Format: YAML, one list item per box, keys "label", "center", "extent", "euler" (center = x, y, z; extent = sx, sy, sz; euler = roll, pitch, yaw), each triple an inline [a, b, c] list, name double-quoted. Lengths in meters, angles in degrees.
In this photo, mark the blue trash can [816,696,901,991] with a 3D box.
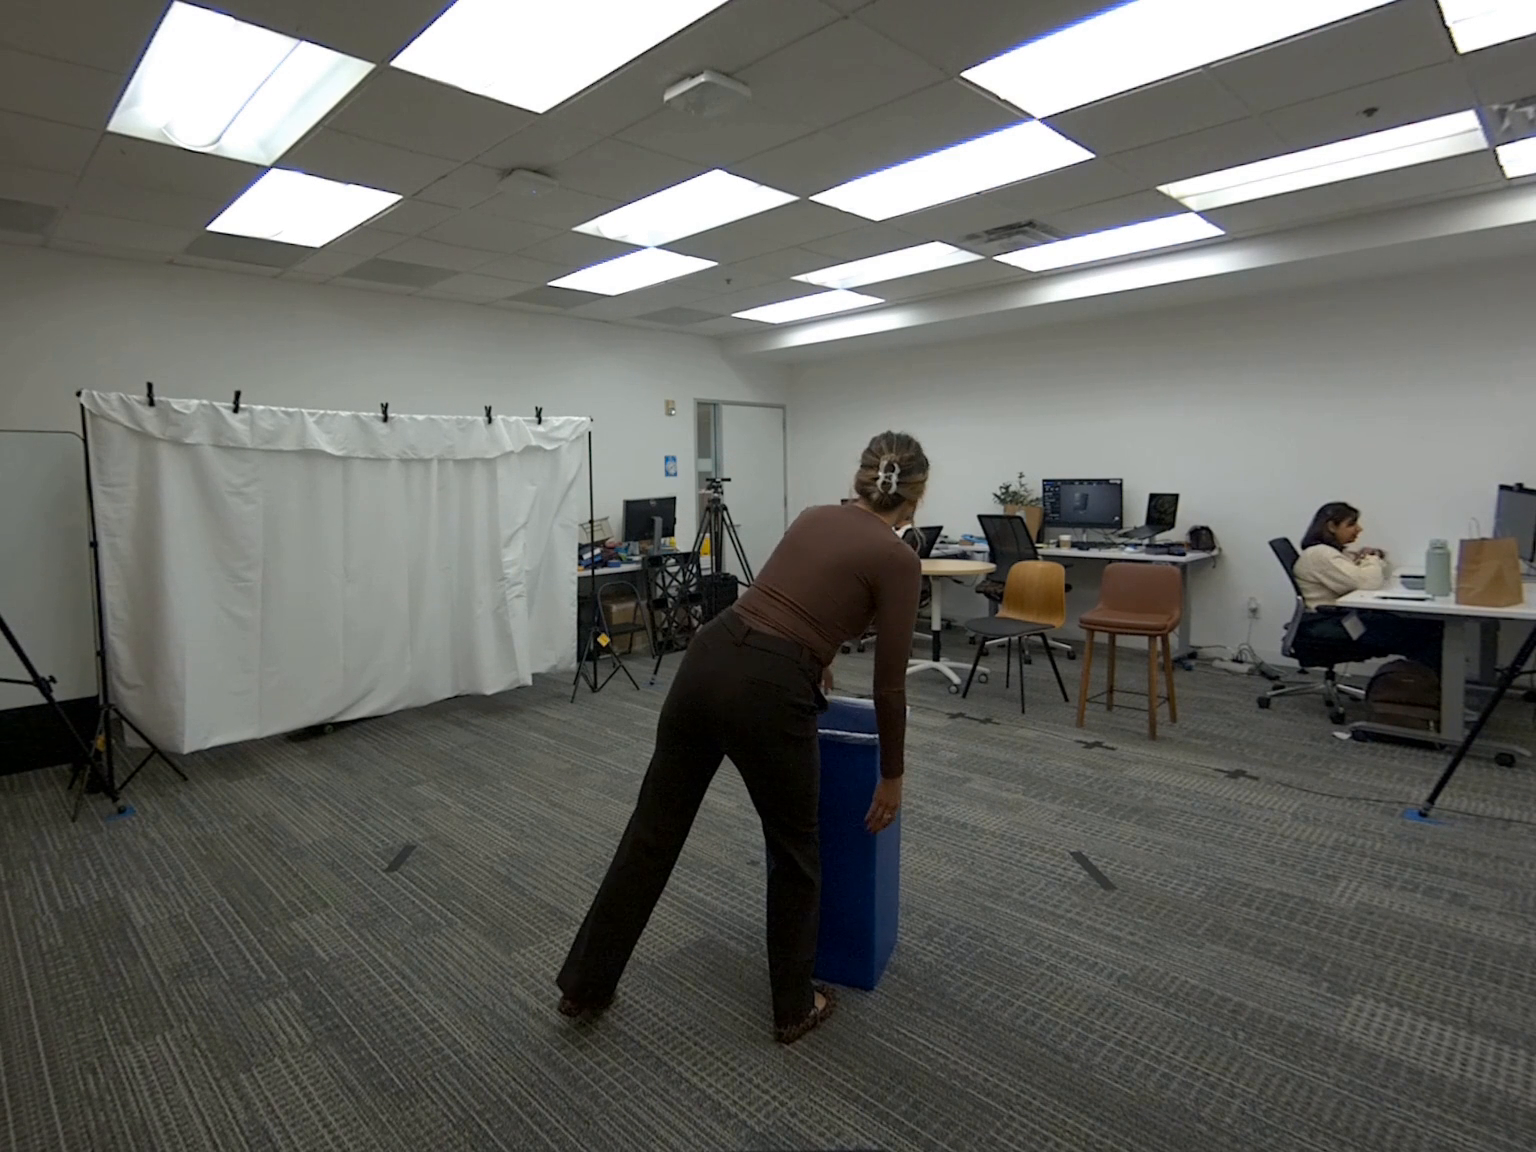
- label: "blue trash can"
  center: [0.205, 0.752, 2.497]
  extent: [0.387, 0.711, 0.367]
  euler: [2, 4, 24]
